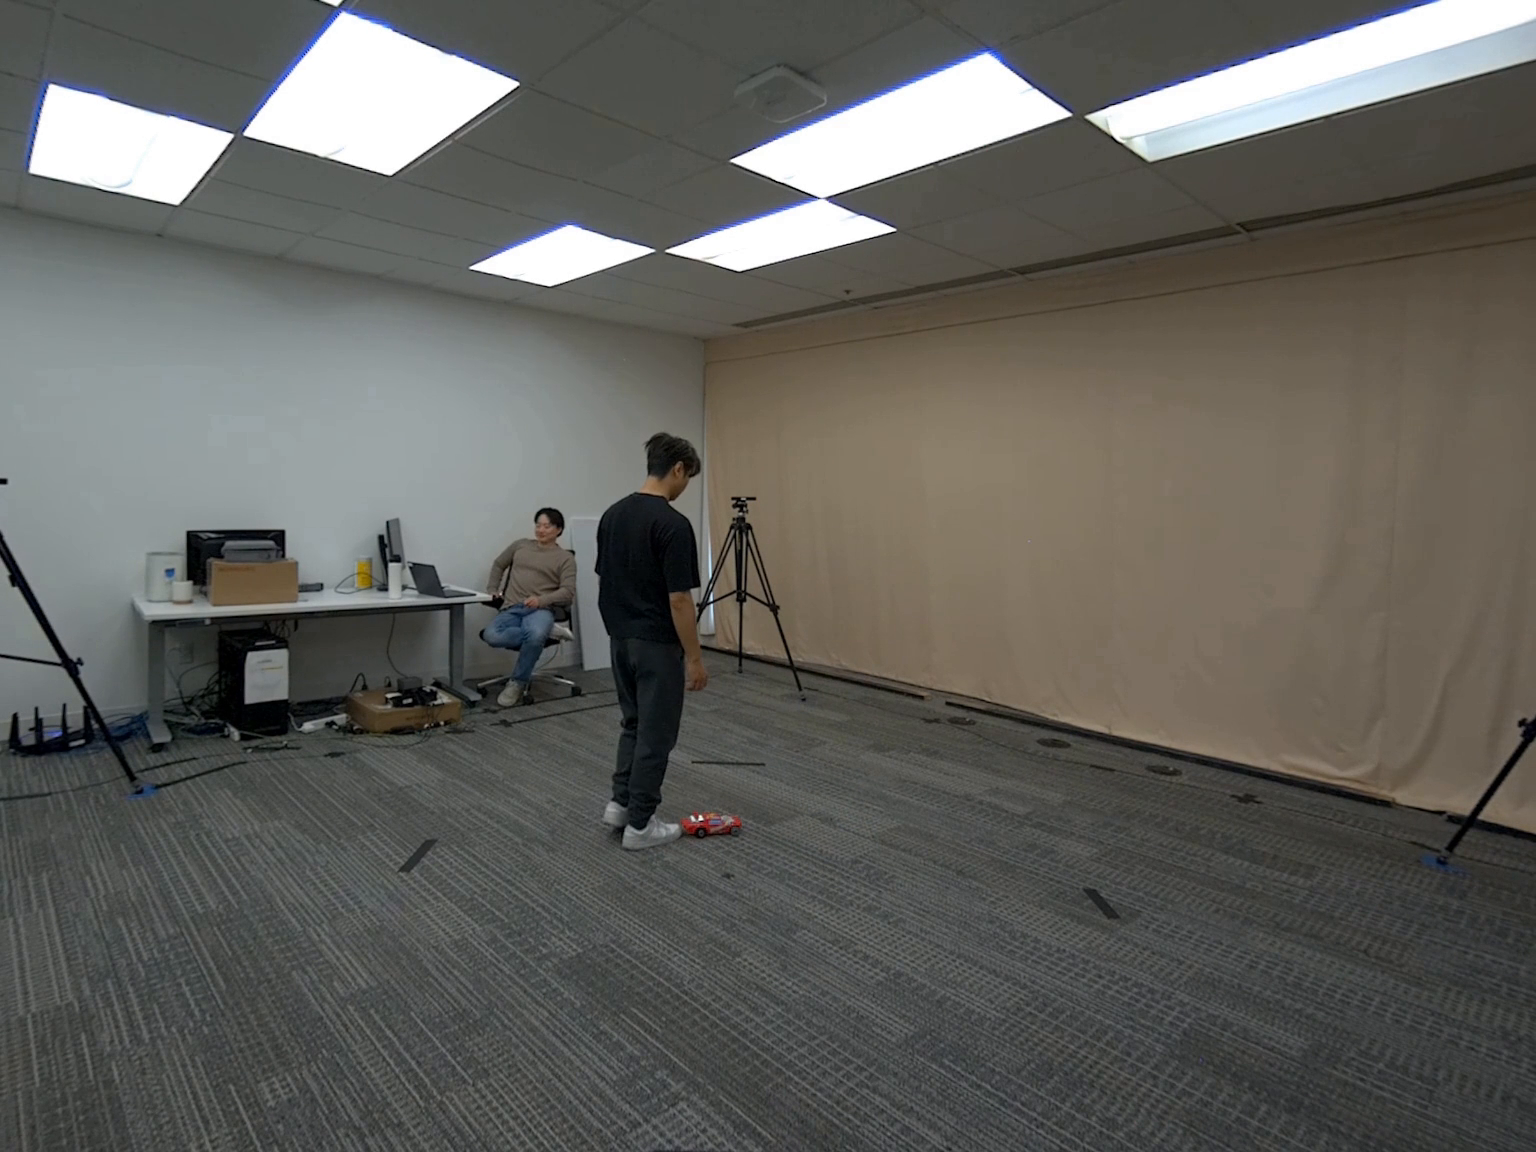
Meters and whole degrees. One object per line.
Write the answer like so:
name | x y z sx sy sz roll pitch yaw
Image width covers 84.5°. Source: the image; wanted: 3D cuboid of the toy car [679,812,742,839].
toy car | -0.253 1.040 3.512 0.251 0.083 0.132 12 1 -16
